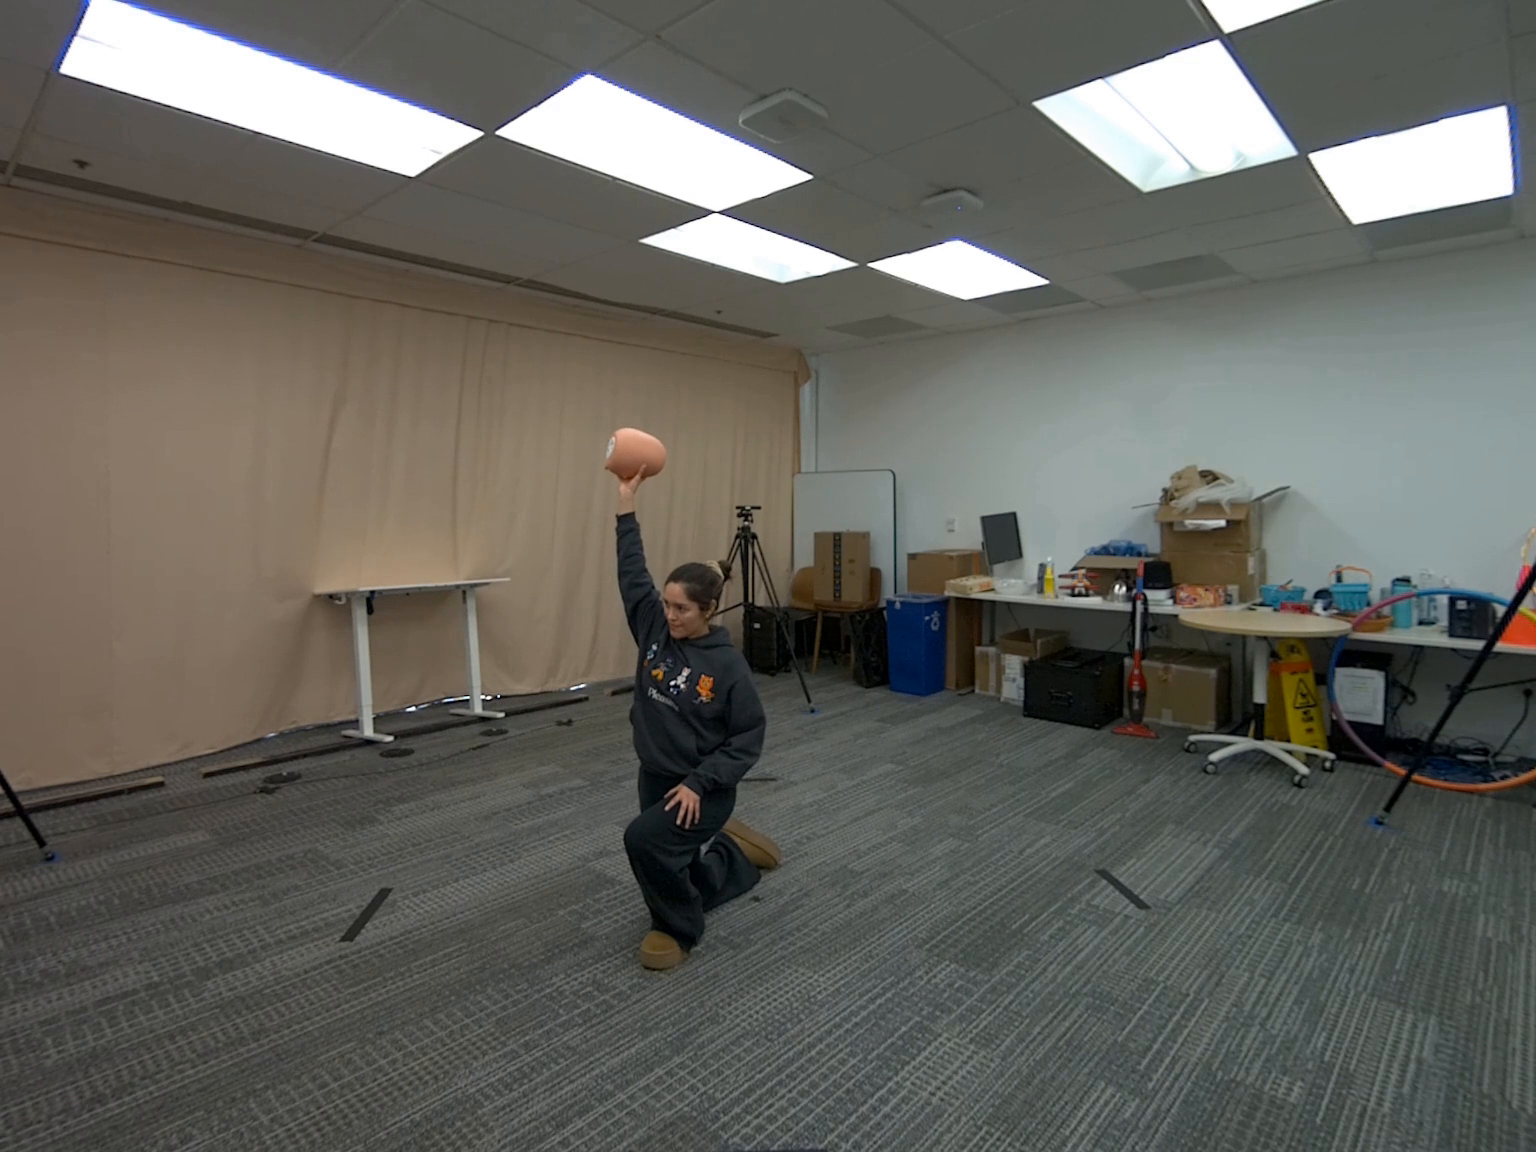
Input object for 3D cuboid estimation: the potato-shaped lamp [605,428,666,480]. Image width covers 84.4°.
[{"bbox_3d":[-0.456,-0.416,2.910,0.193,0.166,0.174,14,-21,-23],"label":"potato-shaped lamp"}]
